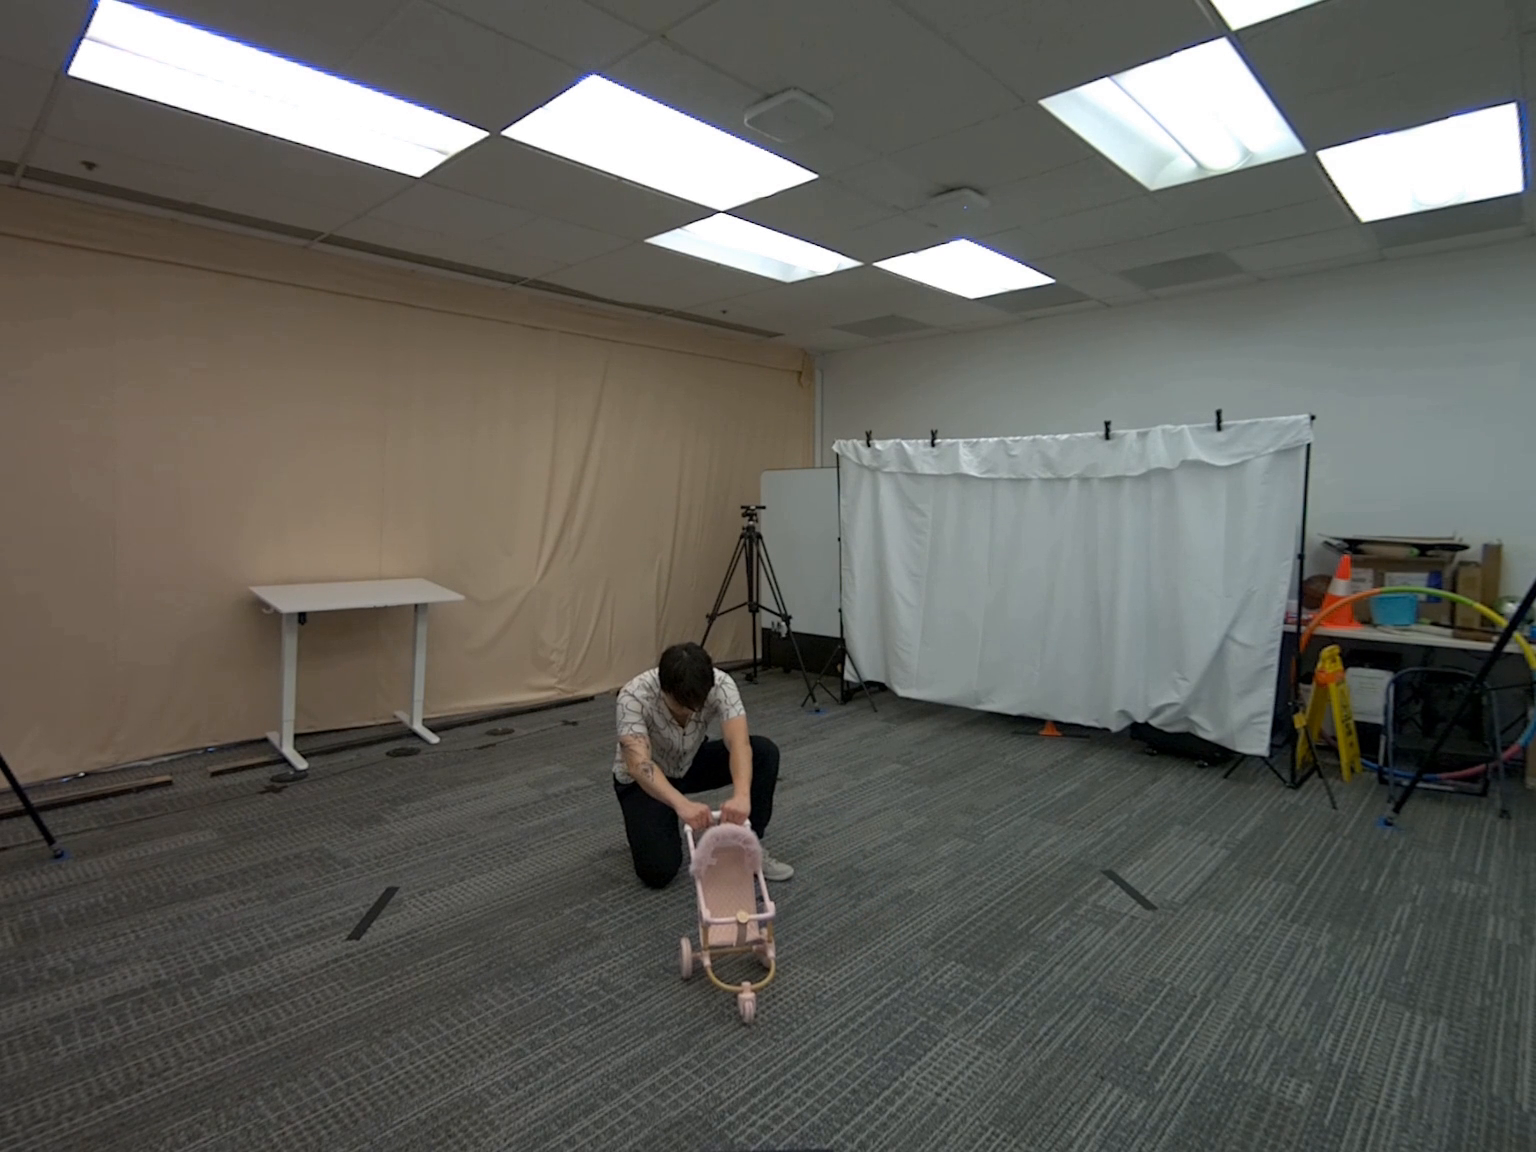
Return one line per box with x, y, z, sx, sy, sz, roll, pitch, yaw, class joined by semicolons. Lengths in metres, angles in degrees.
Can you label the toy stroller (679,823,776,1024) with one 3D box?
-0.110;0.959;2.457;0.278;0.540;0.342;0;-14;-11;toy stroller
